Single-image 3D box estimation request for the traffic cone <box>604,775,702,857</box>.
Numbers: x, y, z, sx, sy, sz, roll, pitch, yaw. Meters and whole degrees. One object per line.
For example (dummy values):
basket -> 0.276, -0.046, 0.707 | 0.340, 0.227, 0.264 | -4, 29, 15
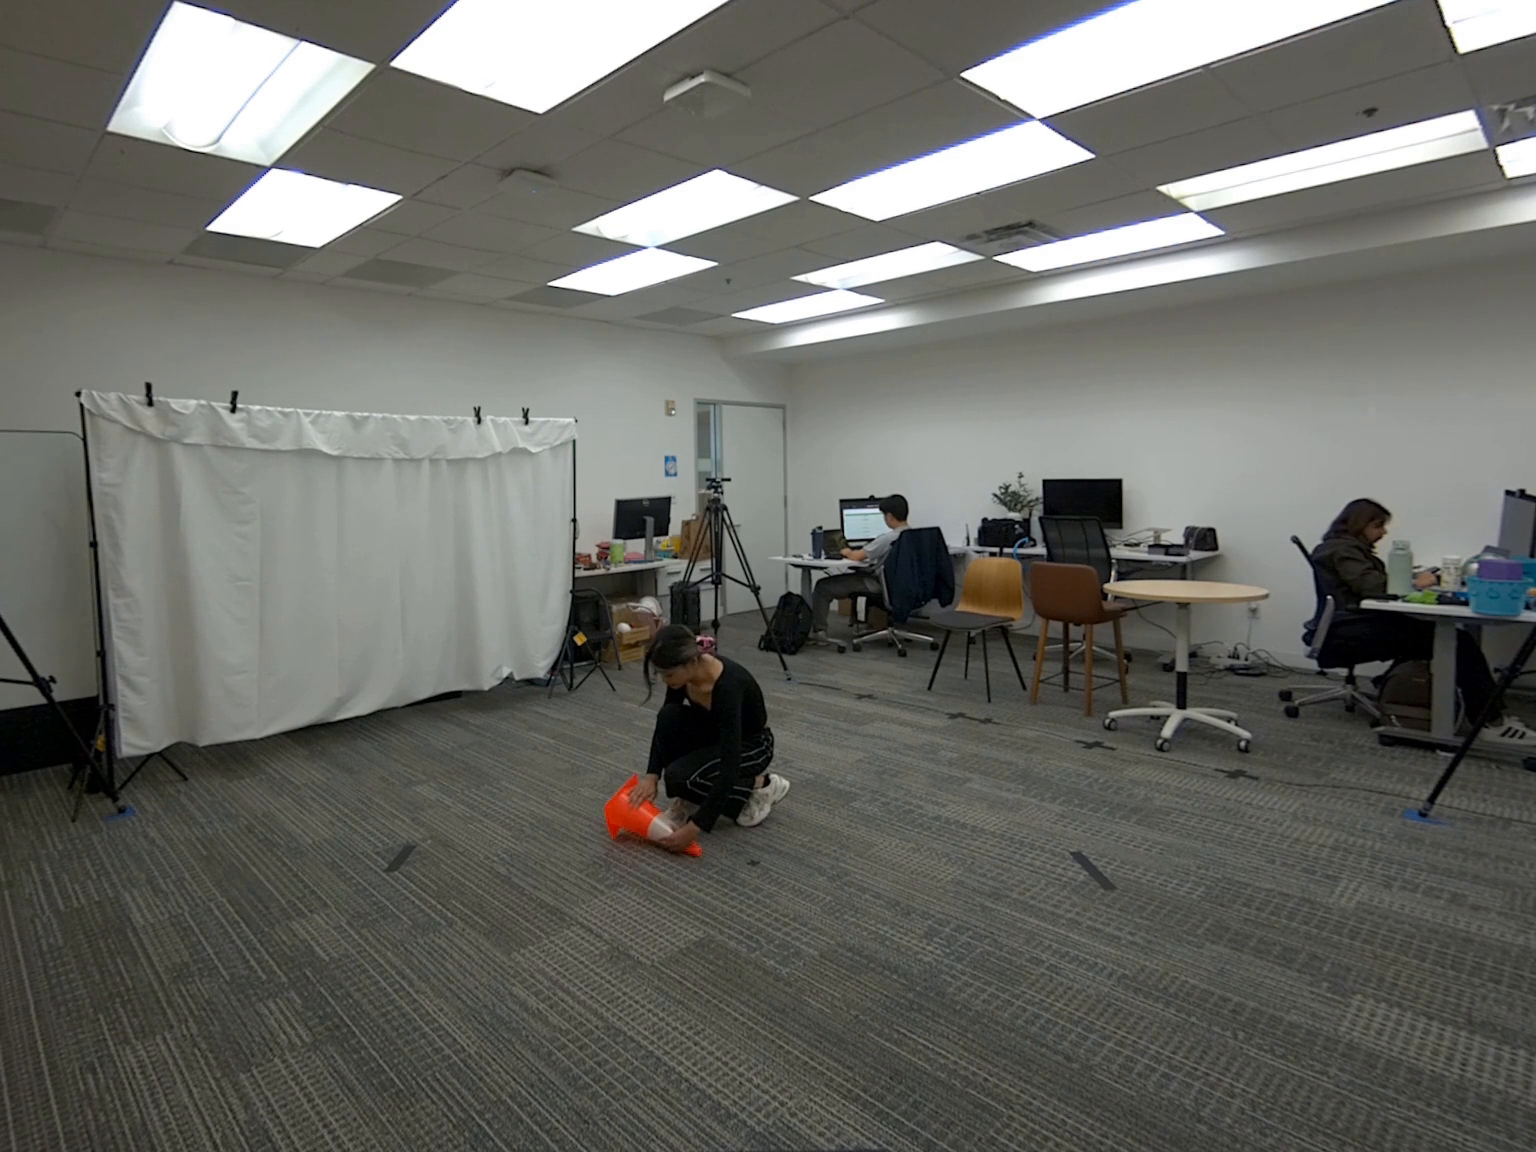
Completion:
traffic cone -> -0.409, 0.959, 3.268 | 0.395, 0.199, 0.203 | 19, 42, 28
